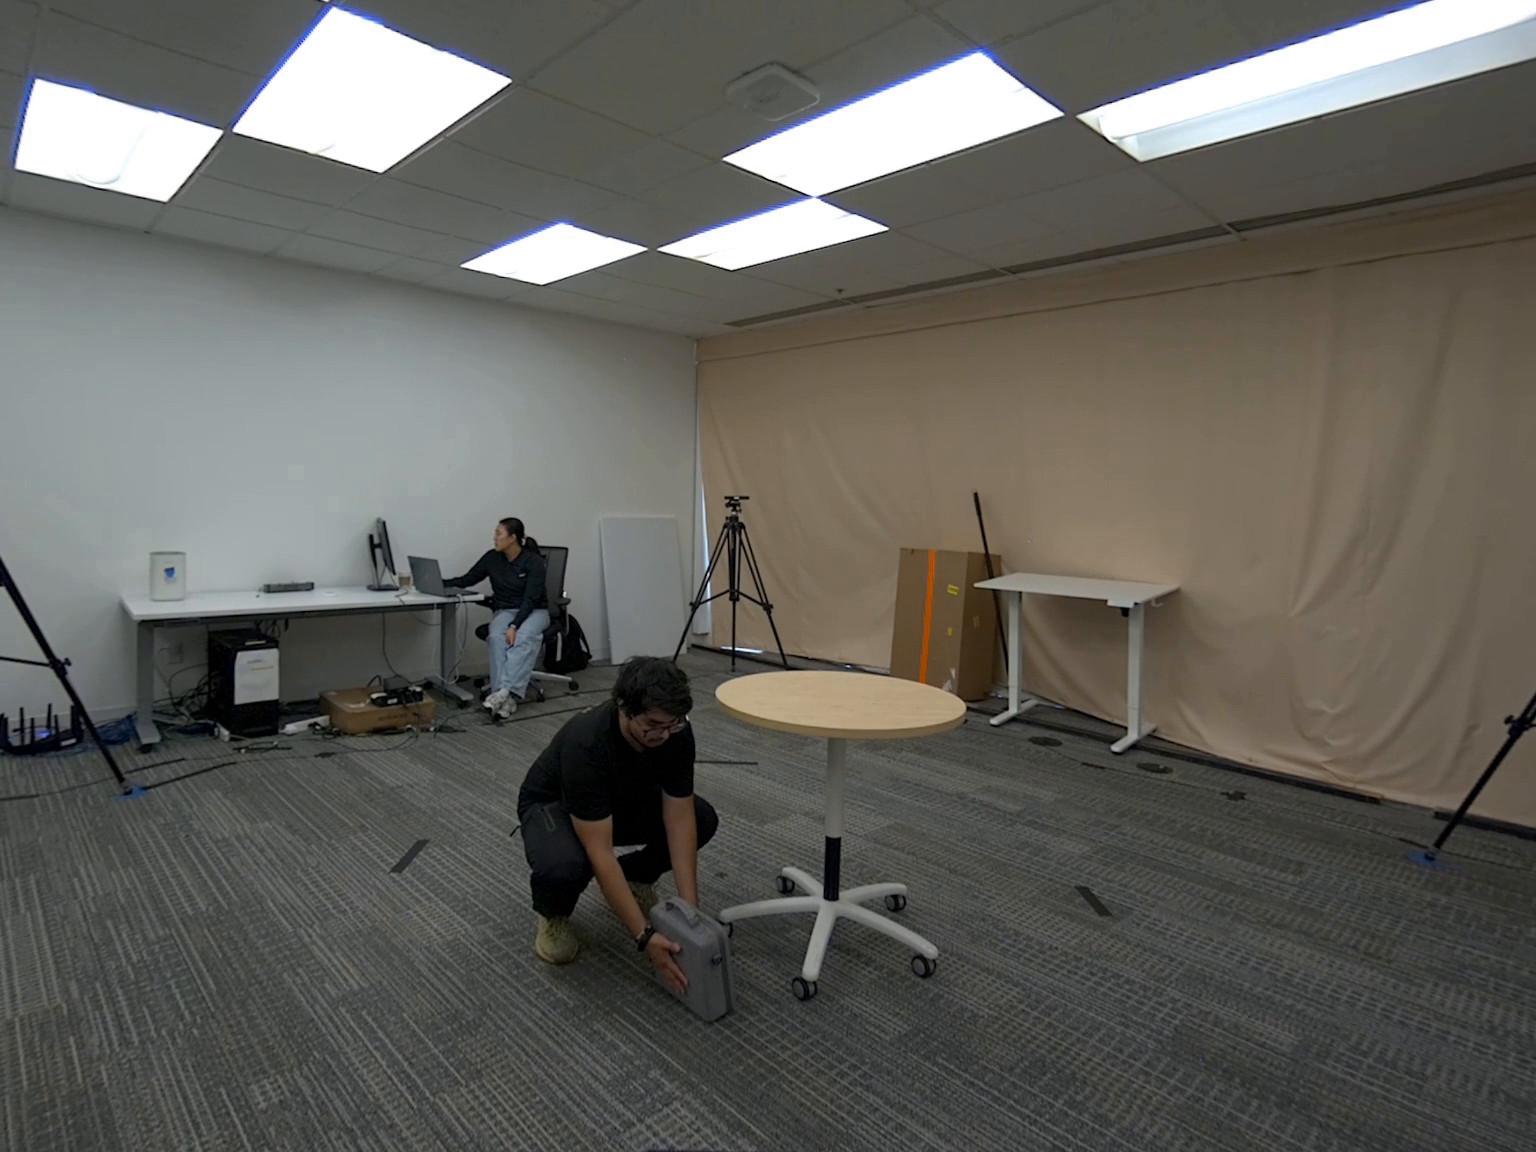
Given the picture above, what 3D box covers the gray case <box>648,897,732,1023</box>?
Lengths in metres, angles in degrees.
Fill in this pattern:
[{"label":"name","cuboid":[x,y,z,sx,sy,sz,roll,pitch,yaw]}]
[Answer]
[{"label":"gray case","cuboid":[-0.227,1.052,2.297,0.102,0.258,0.263,-16,15,-39]}]
